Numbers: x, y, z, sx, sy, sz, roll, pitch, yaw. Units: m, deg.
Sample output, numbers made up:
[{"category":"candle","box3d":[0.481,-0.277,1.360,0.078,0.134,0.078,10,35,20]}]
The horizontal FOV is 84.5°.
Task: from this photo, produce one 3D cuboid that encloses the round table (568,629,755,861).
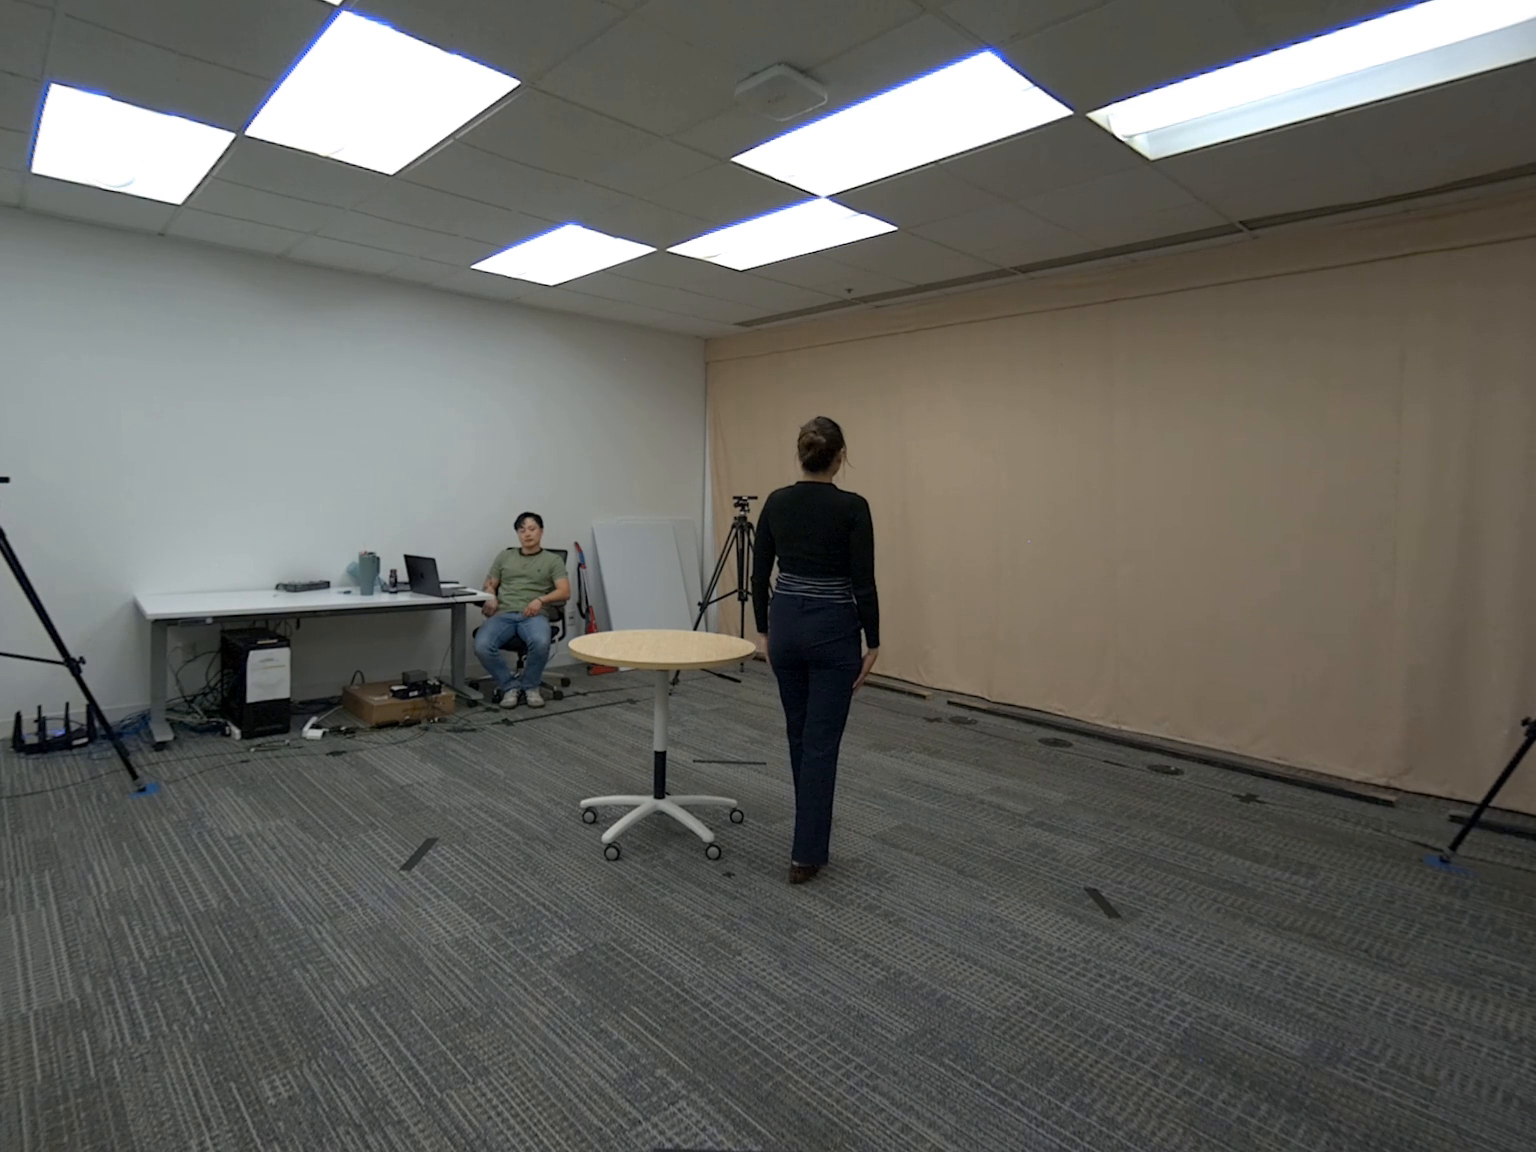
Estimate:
[{"category":"round table","box3d":[-0.451,0.673,3.487,0.763,0.792,0.766,1,4,-1]}]
